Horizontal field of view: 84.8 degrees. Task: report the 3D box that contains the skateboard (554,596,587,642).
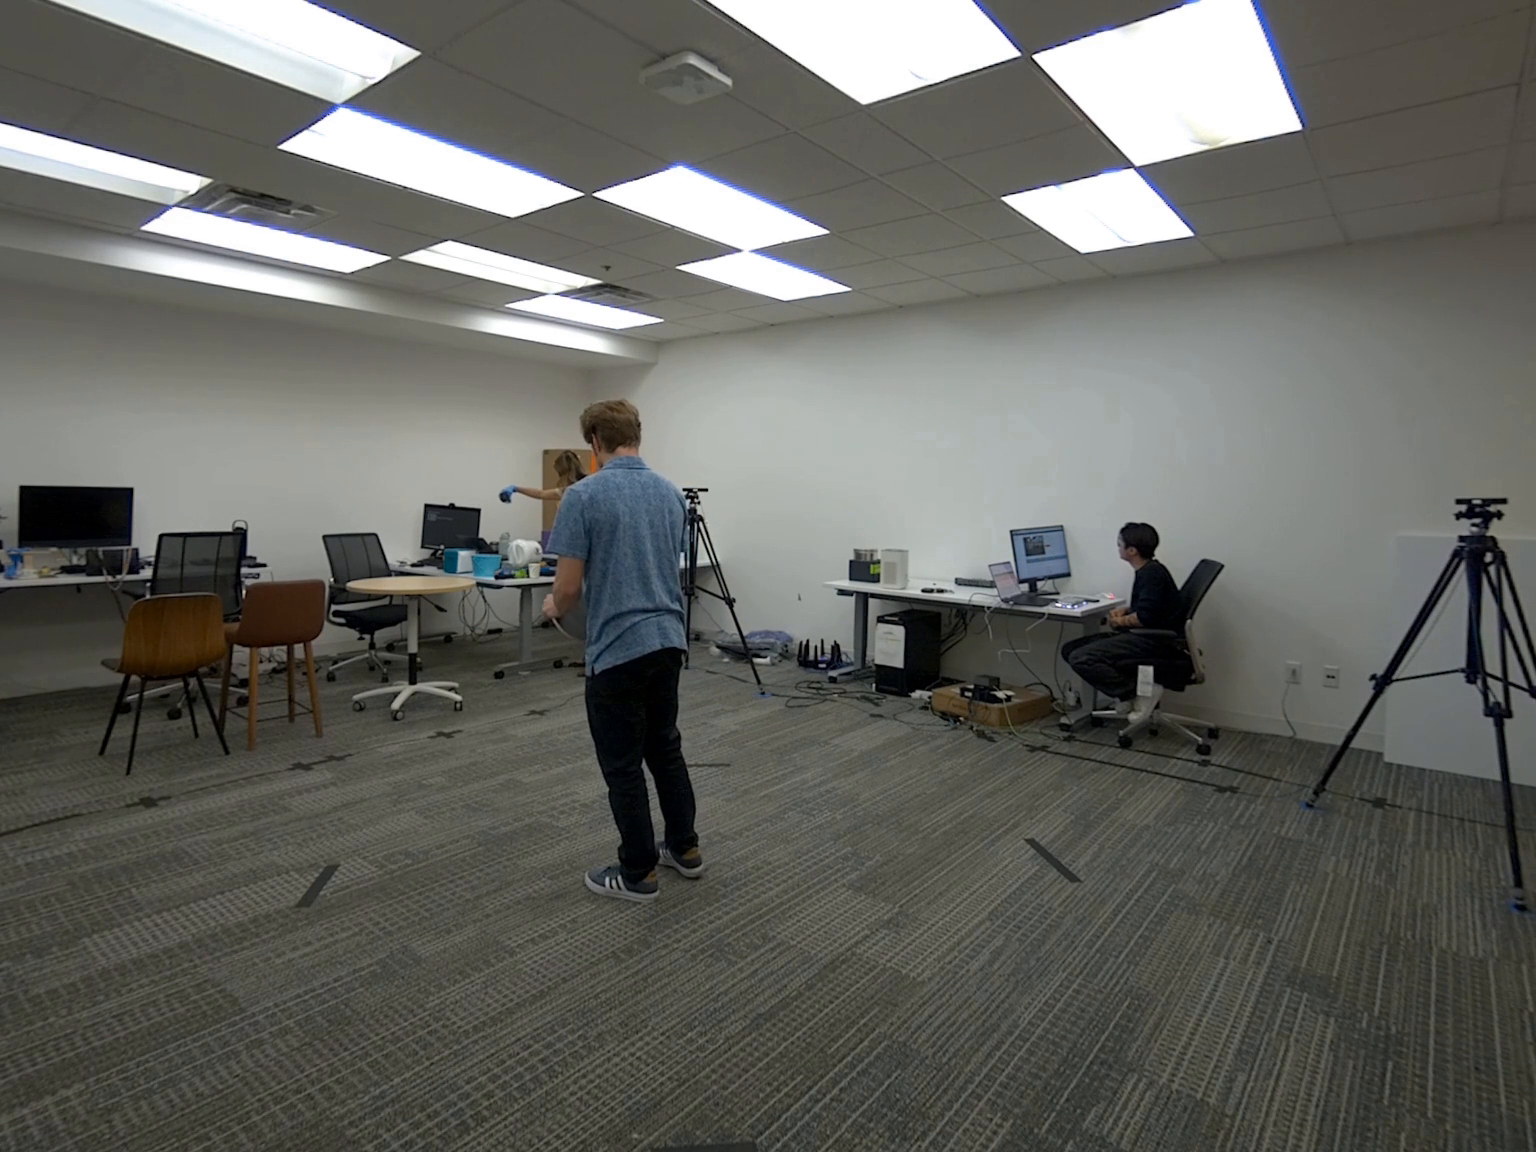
[{"bbox_3d":[-0.639,0.063,3.314,0.193,0.110,0.788,42,28,-5],"label":"skateboard"}]
